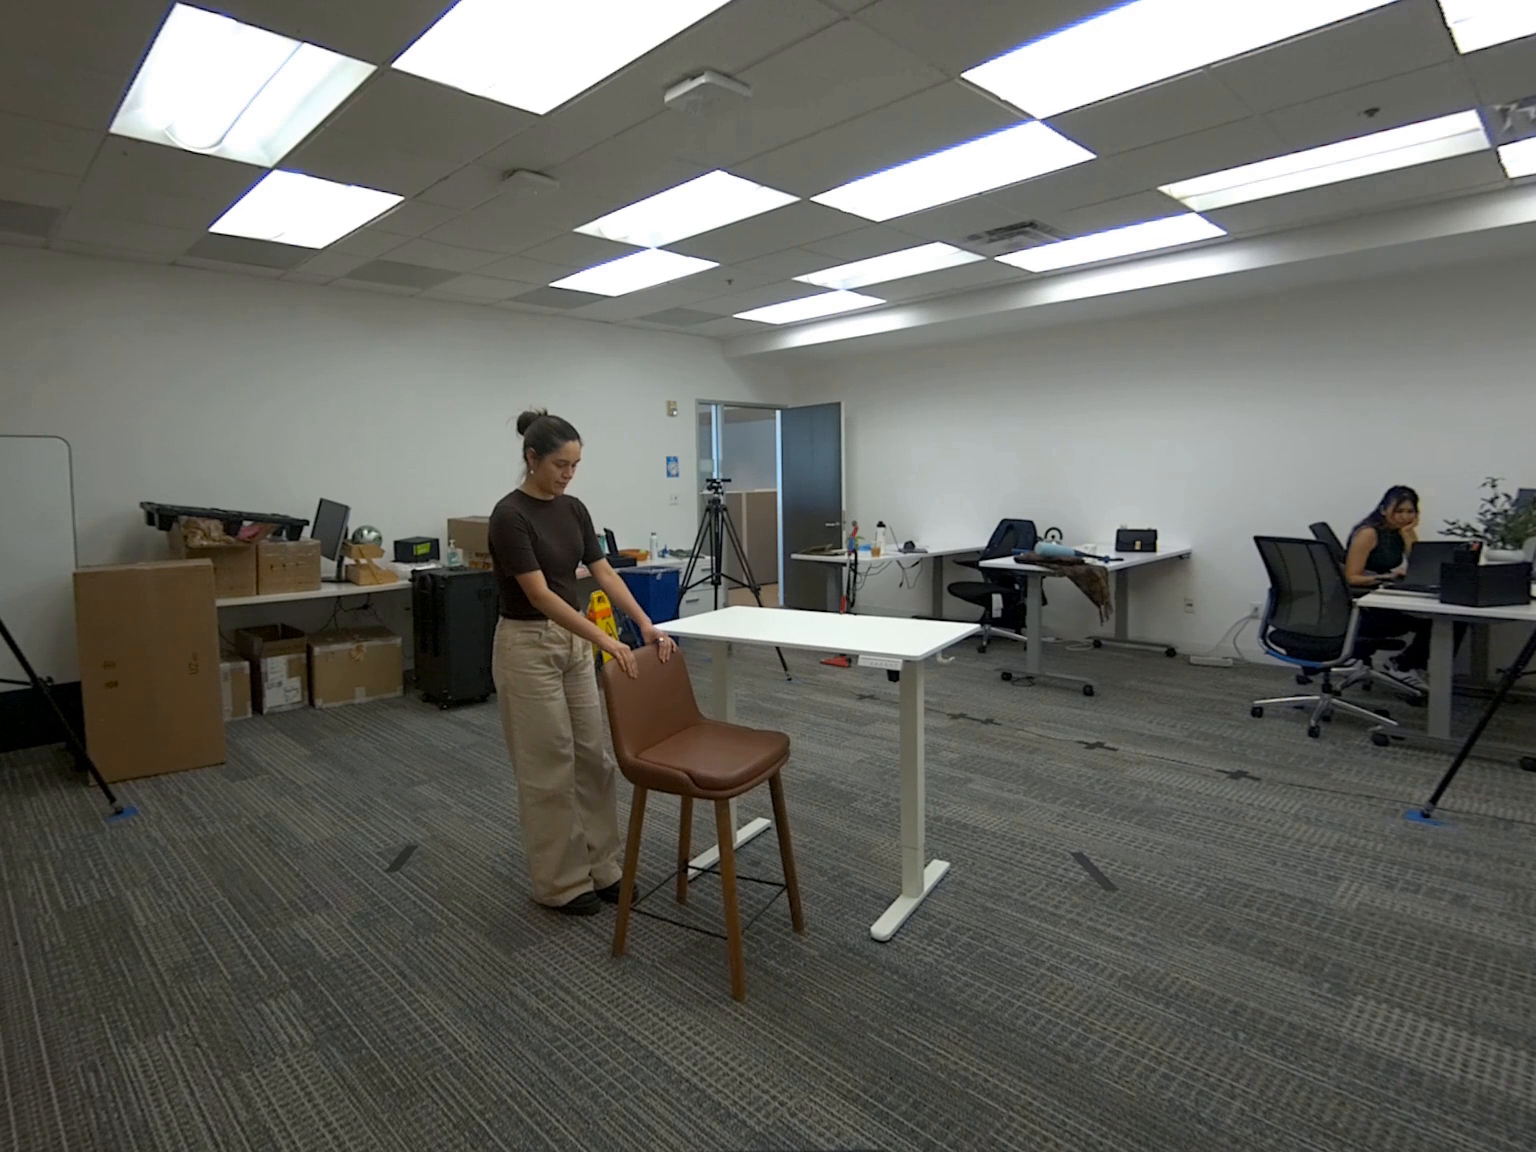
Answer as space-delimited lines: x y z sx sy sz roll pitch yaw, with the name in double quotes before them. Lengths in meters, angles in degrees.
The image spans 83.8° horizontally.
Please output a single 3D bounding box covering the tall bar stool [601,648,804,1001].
"tall bar stool" -0.195 0.678 2.548 0.479 0.888 0.446 -2 3 30
